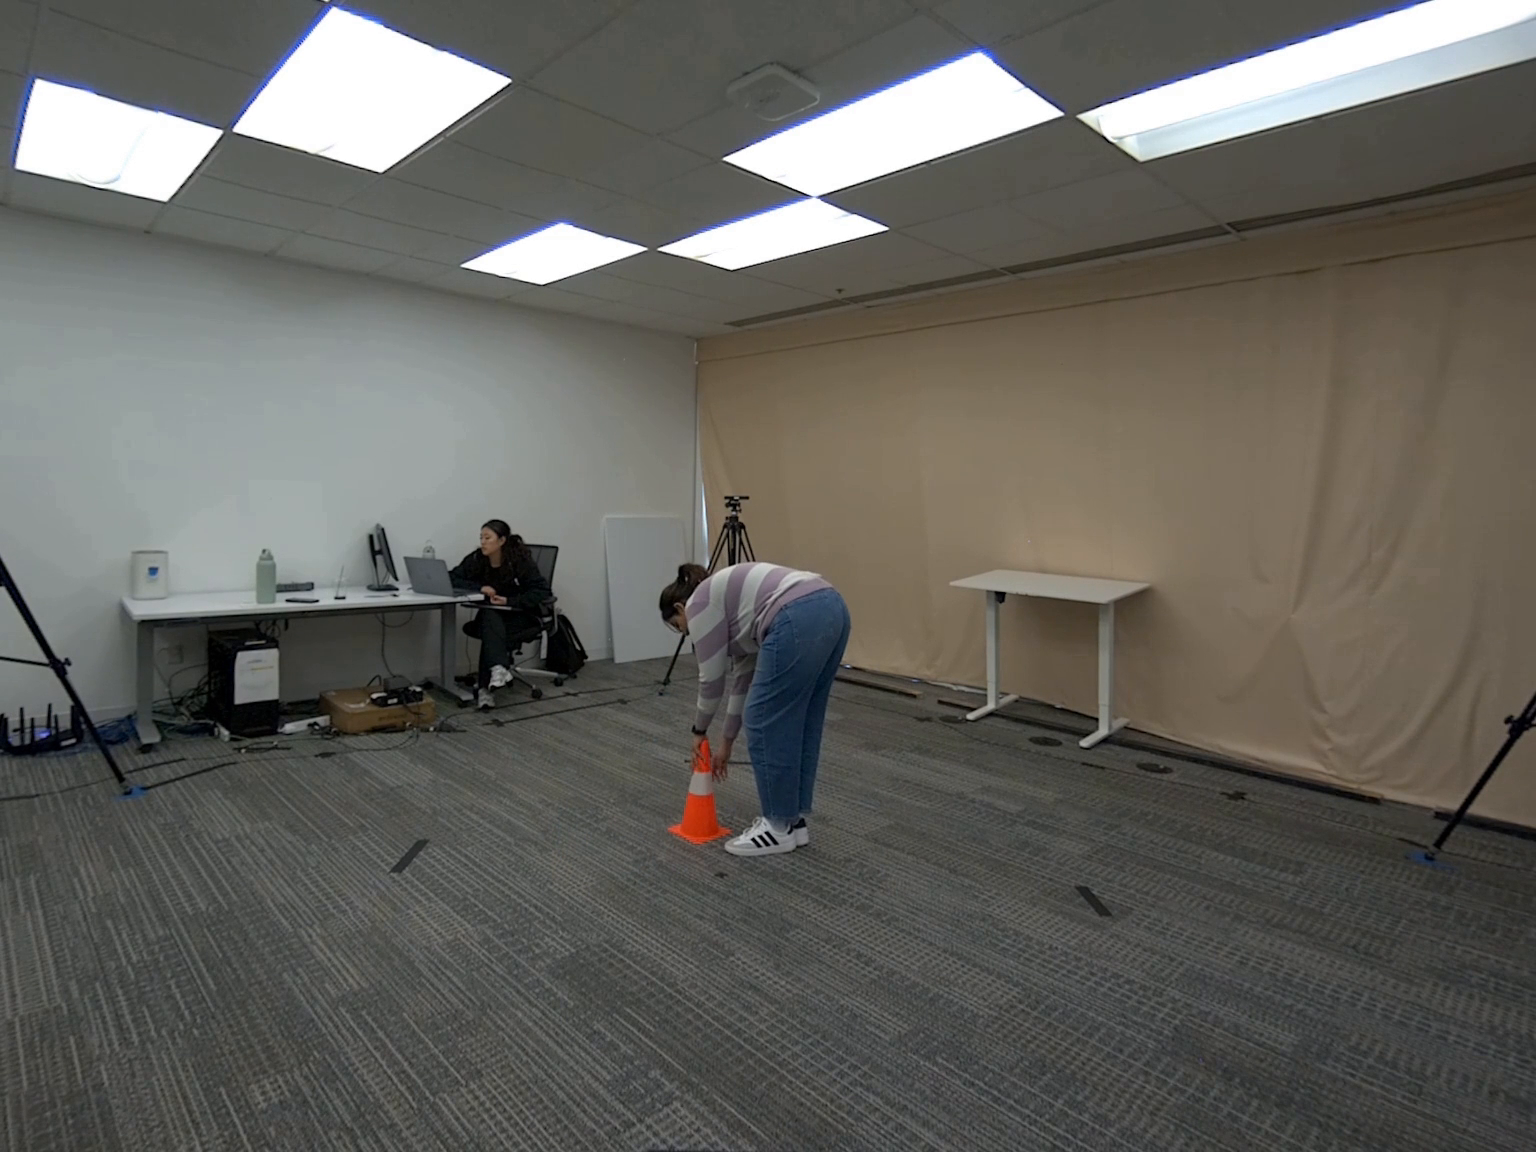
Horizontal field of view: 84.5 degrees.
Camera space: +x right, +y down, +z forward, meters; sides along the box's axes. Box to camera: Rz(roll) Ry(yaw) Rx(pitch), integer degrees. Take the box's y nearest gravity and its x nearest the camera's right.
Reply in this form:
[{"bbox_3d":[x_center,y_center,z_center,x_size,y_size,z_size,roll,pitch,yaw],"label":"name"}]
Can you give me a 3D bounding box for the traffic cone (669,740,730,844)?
[{"bbox_3d":[-0.278,0.873,3.499,0.210,0.382,0.198,7,6,44],"label":"traffic cone"}]
